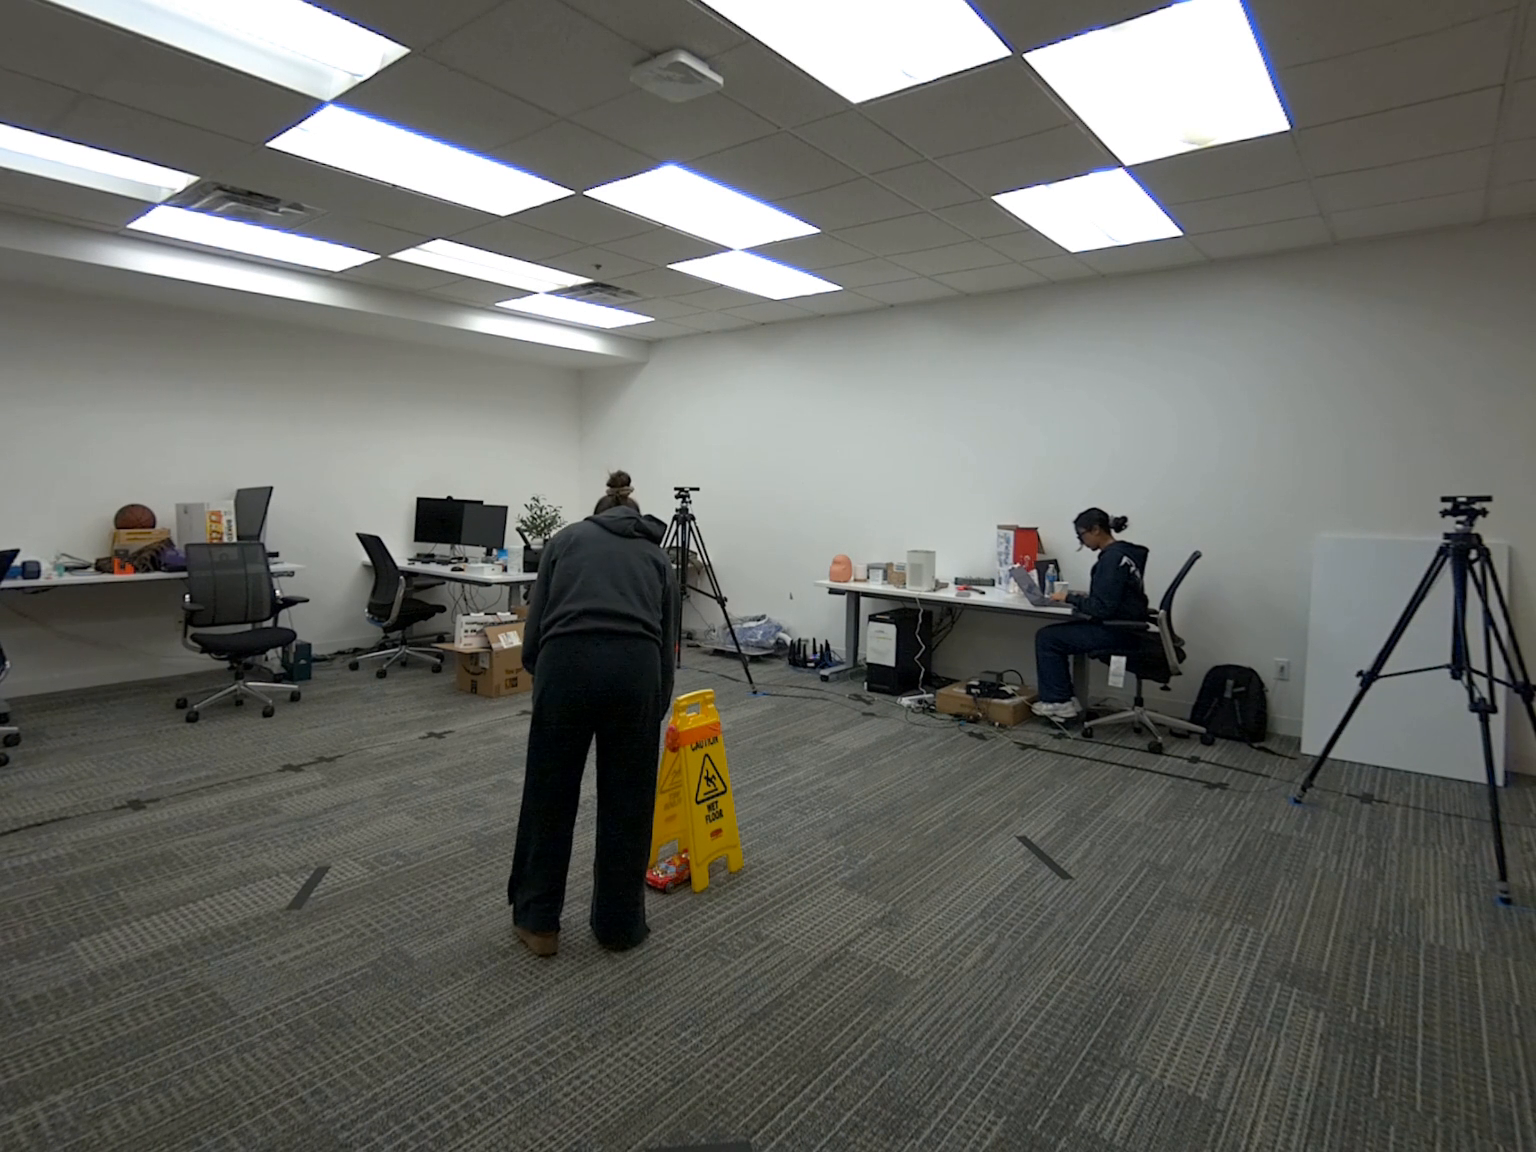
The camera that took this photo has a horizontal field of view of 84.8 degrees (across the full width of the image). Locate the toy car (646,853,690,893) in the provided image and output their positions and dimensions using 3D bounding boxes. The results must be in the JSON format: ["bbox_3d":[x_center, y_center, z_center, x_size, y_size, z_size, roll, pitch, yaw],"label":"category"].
[{"bbox_3d":[-0.338,1.043,3.024,0.134,0.082,0.249,4,15,39],"label":"toy car"}]
